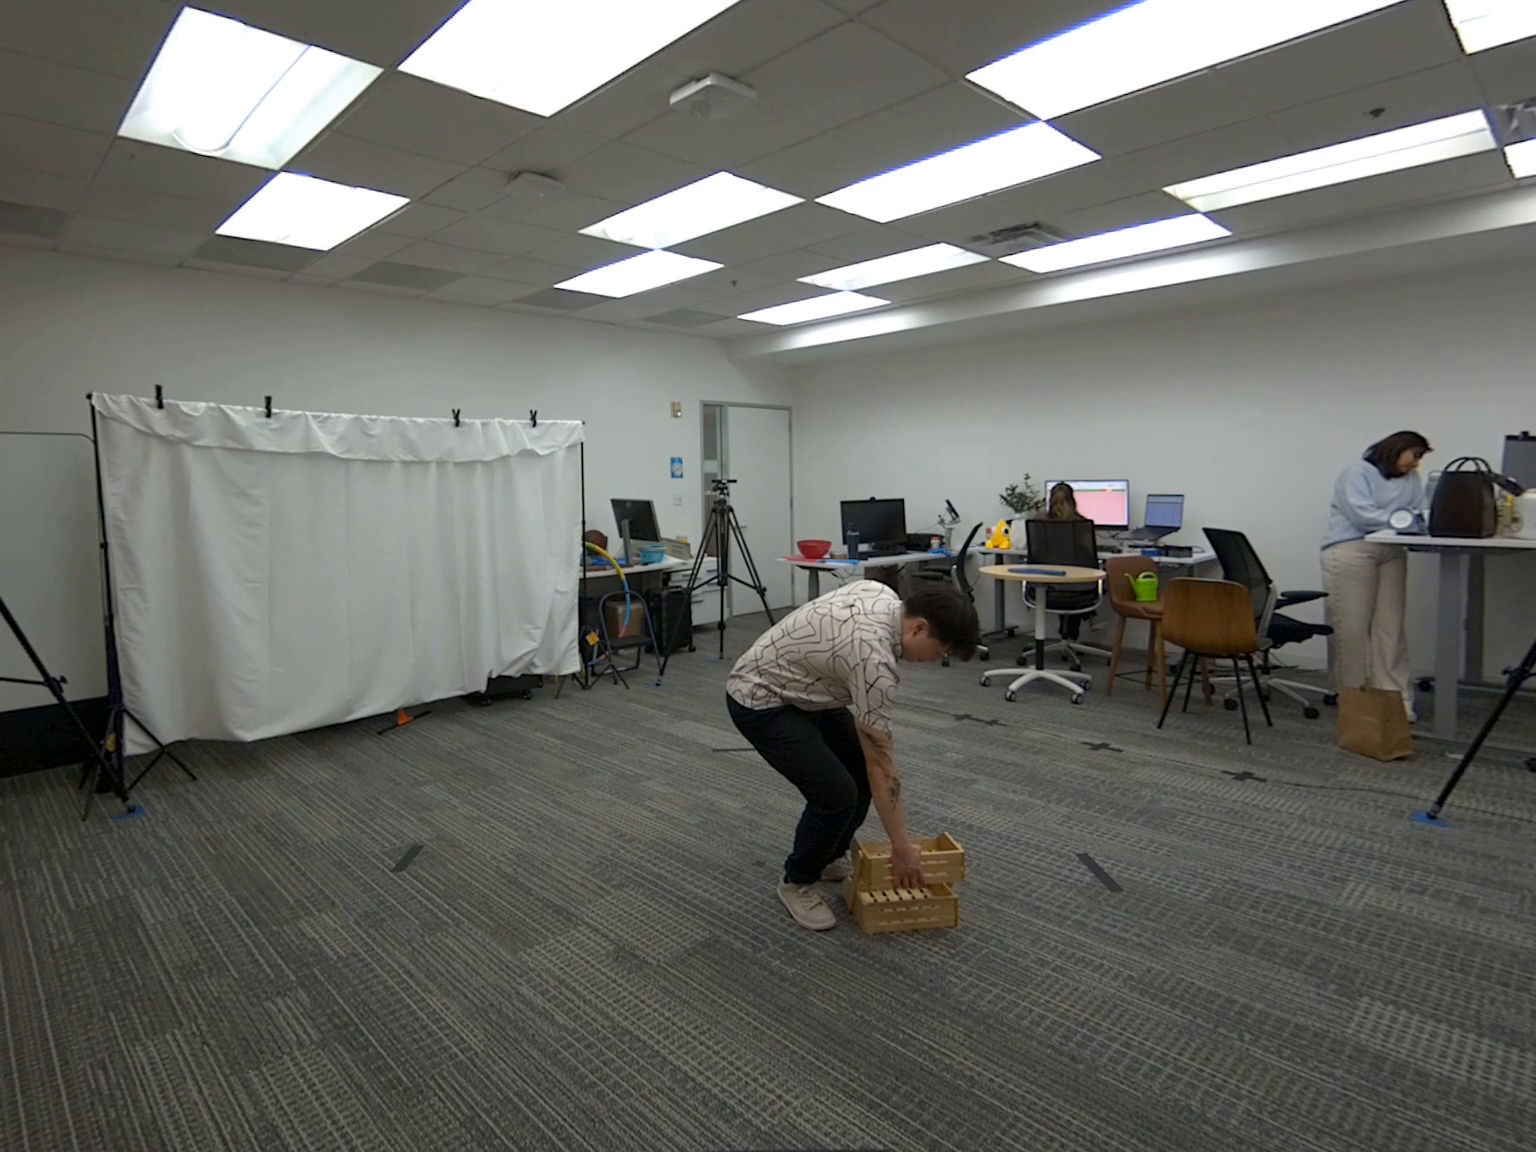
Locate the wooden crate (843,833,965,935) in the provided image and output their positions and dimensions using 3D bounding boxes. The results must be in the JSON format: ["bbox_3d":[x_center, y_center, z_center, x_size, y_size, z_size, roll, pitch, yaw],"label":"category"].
[{"bbox_3d":[0.417,0.937,2.730,0.322,0.272,0.305,-2,5,-8],"label":"wooden crate"}]
